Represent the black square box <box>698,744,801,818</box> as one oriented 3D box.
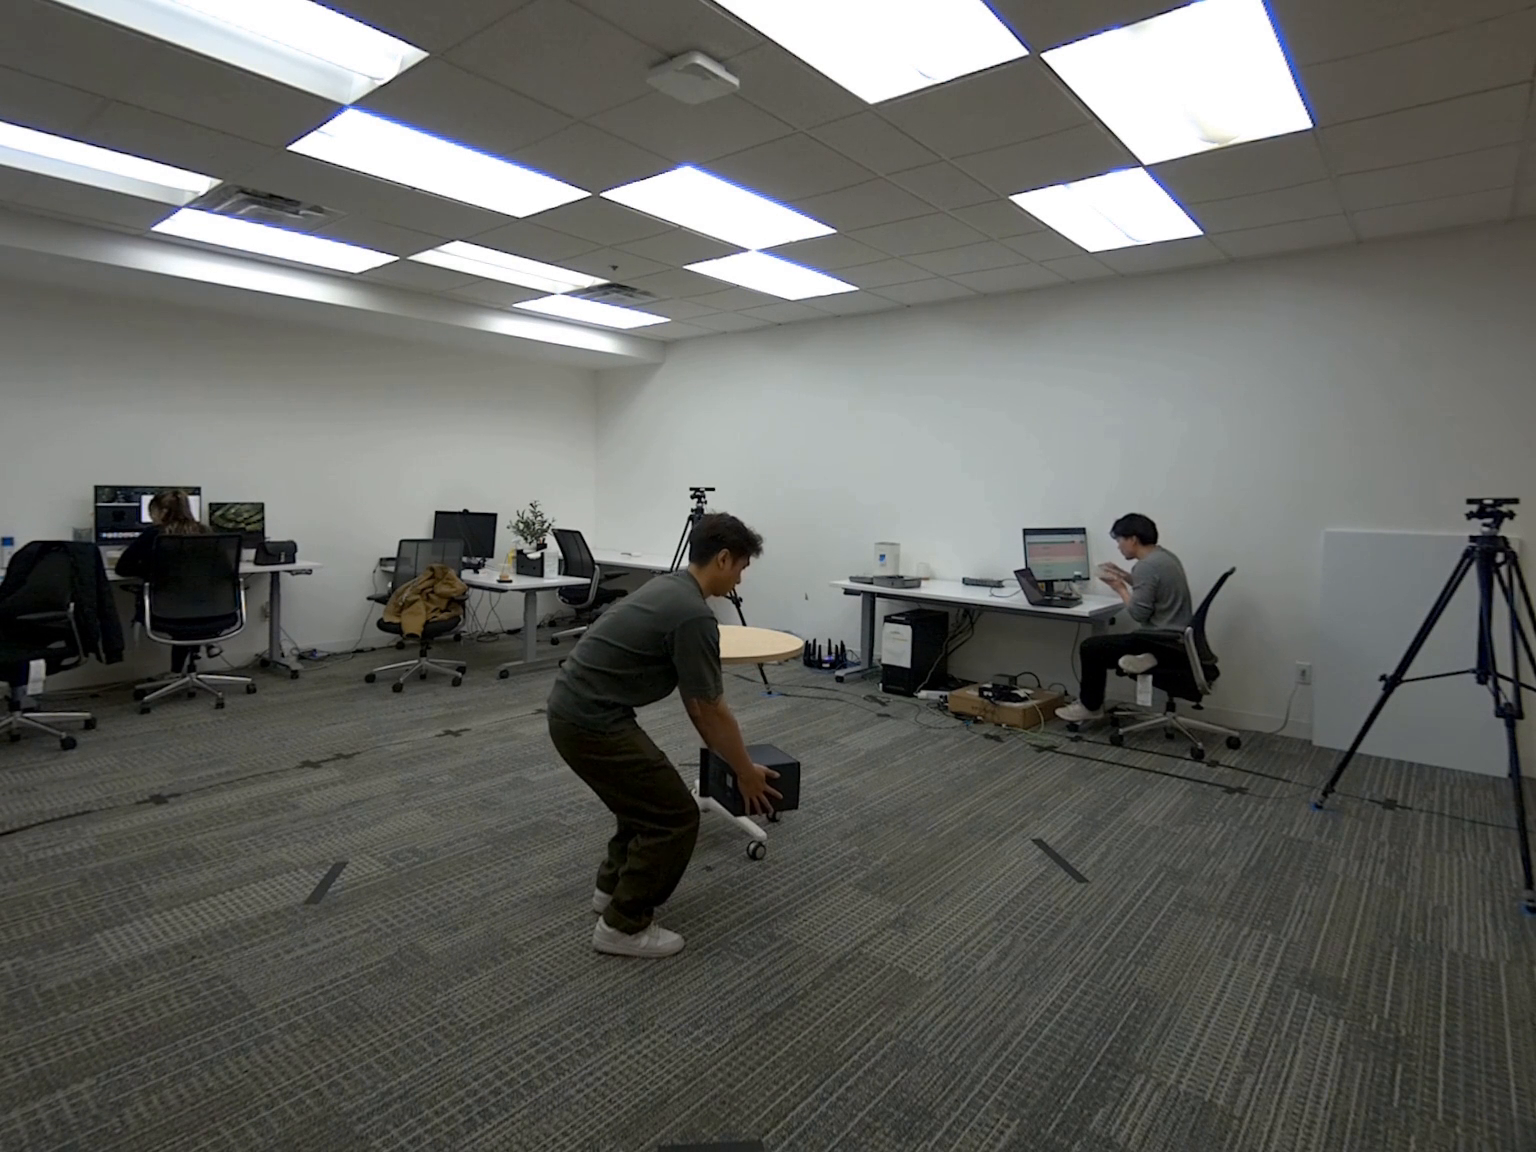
[{"bbox_3d":[-0.064,0.664,2.766,0.223,0.155,0.223,0,5,-24],"label":"black square box"}]
